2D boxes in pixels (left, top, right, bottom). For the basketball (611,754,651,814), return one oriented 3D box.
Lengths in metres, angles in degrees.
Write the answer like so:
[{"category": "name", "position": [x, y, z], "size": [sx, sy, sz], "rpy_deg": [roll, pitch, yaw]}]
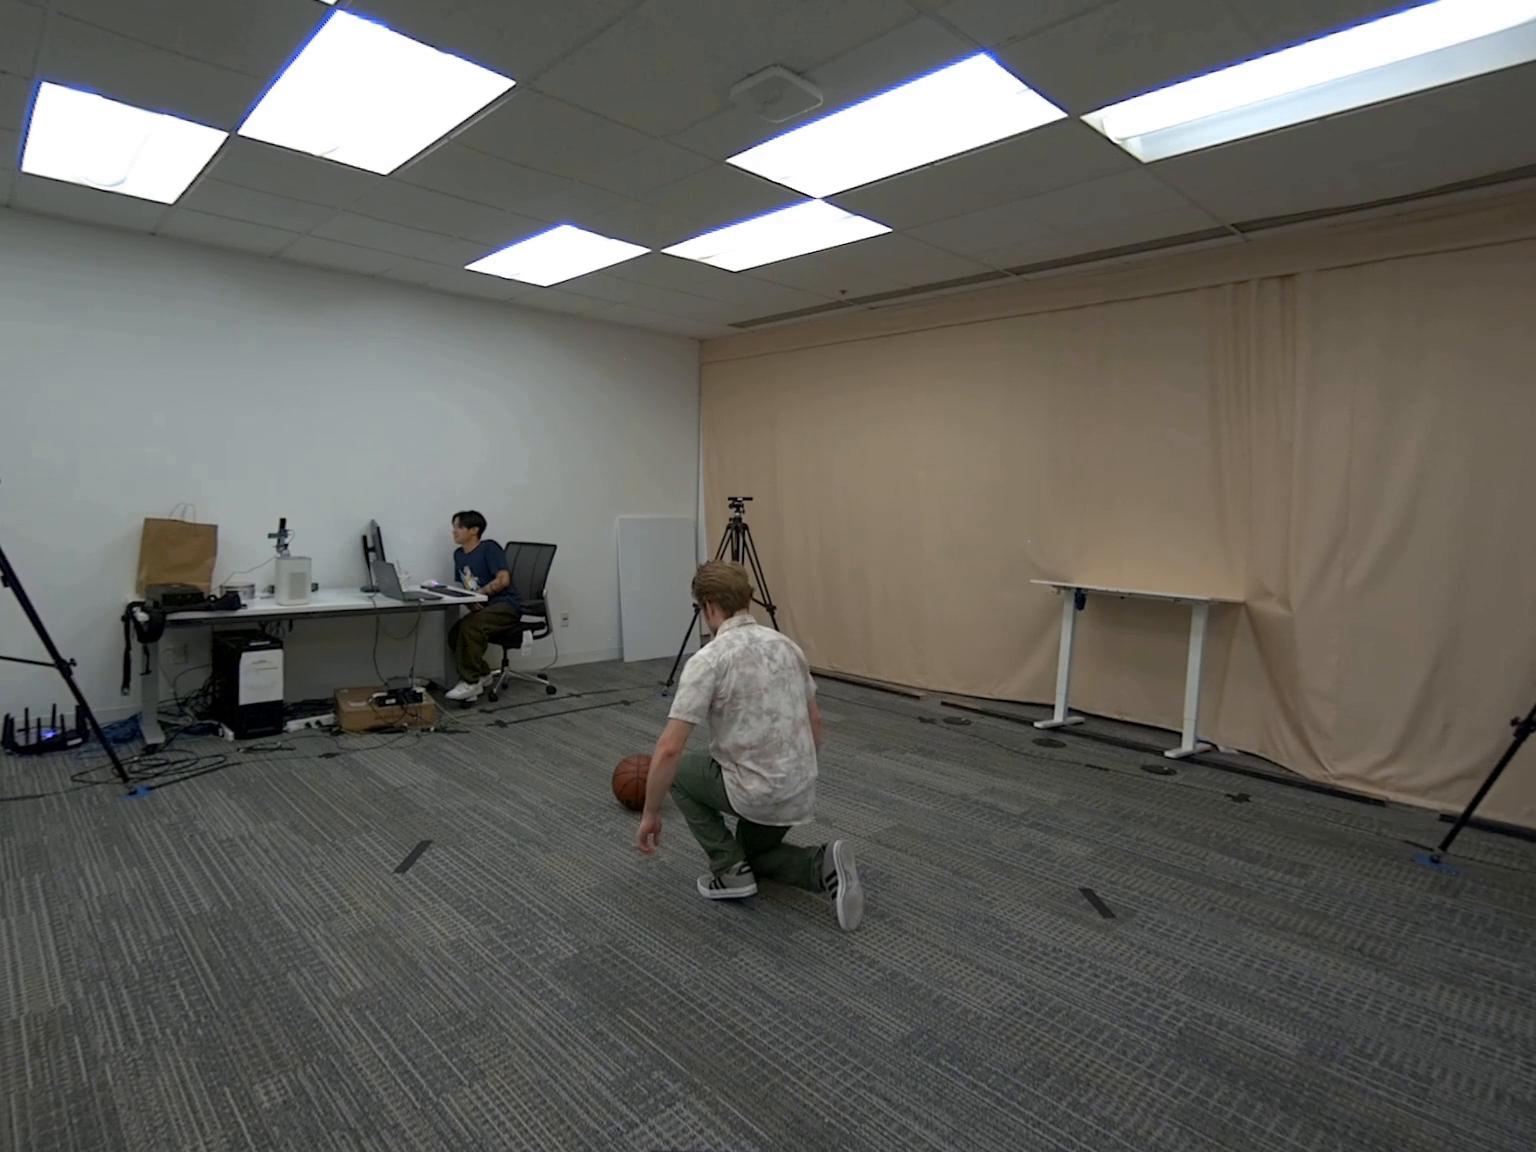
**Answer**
[{"category": "basketball", "position": [-0.586, 0.912, 3.761], "size": [0.236, 0.235, 0.237], "rpy_deg": [1, 4, -1]}]
